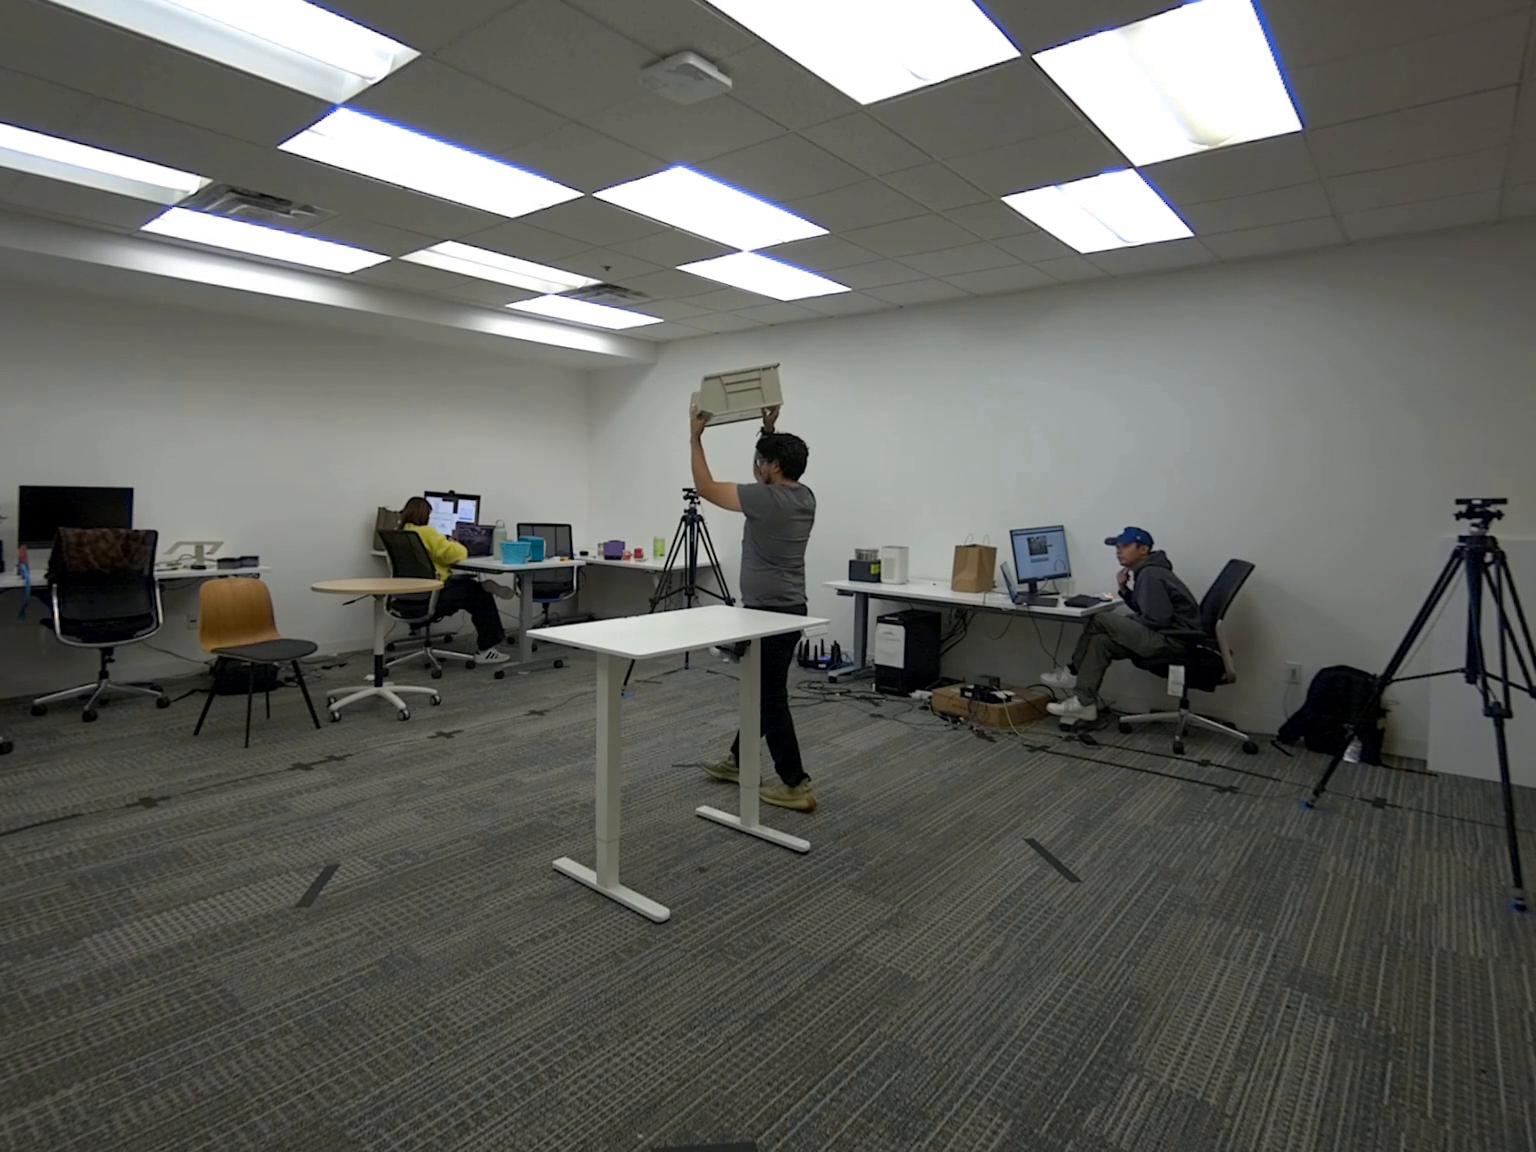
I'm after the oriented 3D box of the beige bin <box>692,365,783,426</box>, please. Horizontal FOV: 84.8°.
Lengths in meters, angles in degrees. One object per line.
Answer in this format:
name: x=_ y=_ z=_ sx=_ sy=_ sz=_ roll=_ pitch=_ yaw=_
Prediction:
beige bin: x=-0.164 y=-0.817 z=3.871 sx=0.374 sy=0.188 sz=0.426 roll=-10 pitch=3 yaw=-9
